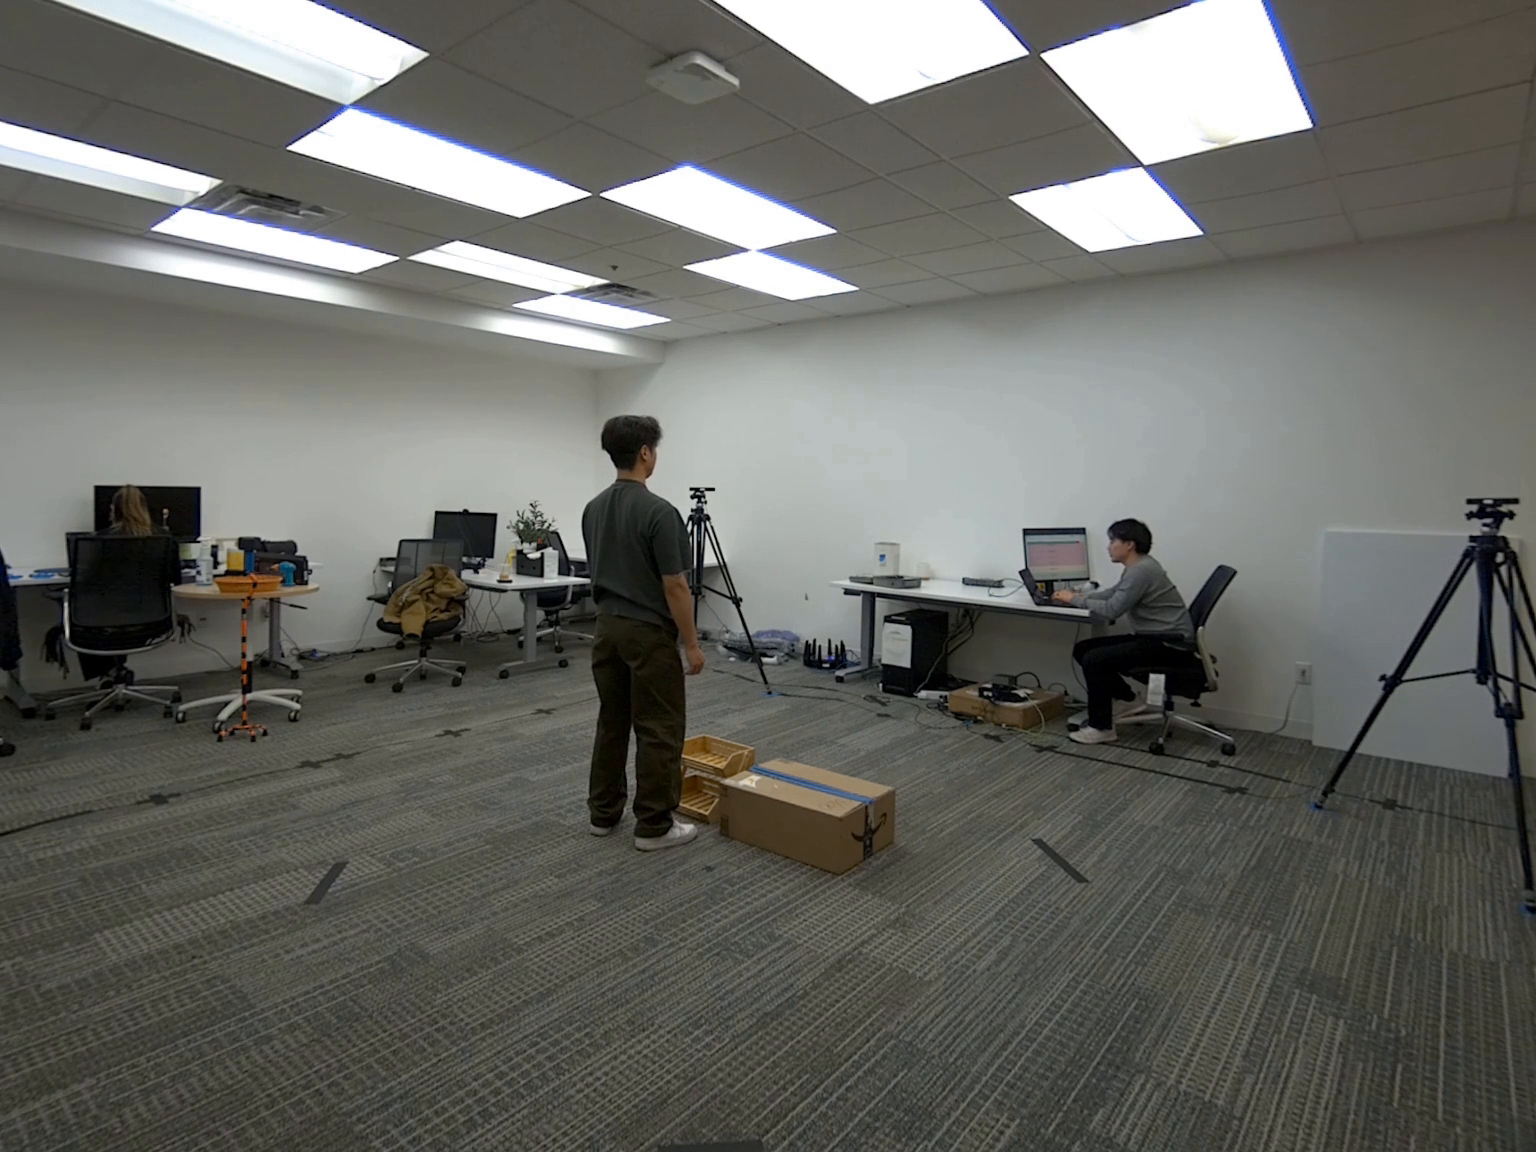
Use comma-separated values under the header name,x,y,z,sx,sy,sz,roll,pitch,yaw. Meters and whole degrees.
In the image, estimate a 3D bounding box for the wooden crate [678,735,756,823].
name,x,y,z,sx,sy,sz,roll,pitch,yaw
wooden crate,-0.287,0.868,3.708,0.335,0.272,0.293,4,5,40
